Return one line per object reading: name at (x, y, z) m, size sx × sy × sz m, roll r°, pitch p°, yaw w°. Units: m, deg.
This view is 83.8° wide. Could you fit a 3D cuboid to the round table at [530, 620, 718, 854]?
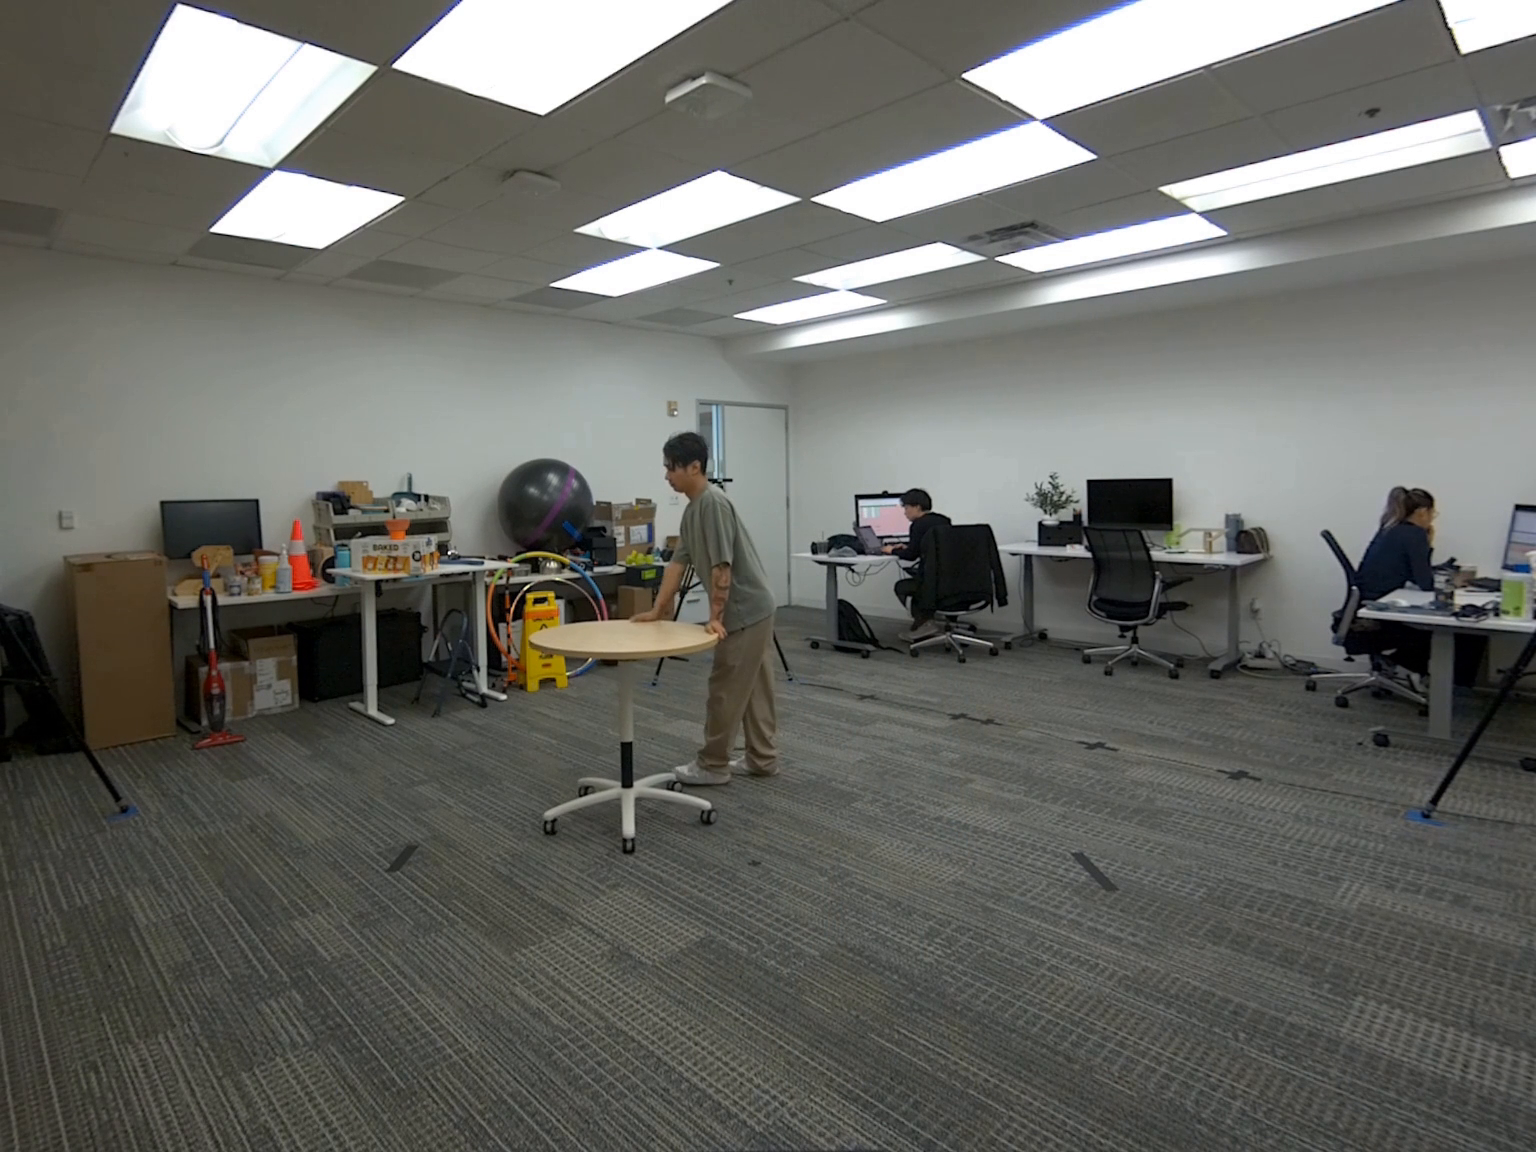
round table at (-0.596, 0.623, 3.505) m, size 0.784 × 0.784 × 0.788 m, roll -1°, pitch 4°, yaw -2°
